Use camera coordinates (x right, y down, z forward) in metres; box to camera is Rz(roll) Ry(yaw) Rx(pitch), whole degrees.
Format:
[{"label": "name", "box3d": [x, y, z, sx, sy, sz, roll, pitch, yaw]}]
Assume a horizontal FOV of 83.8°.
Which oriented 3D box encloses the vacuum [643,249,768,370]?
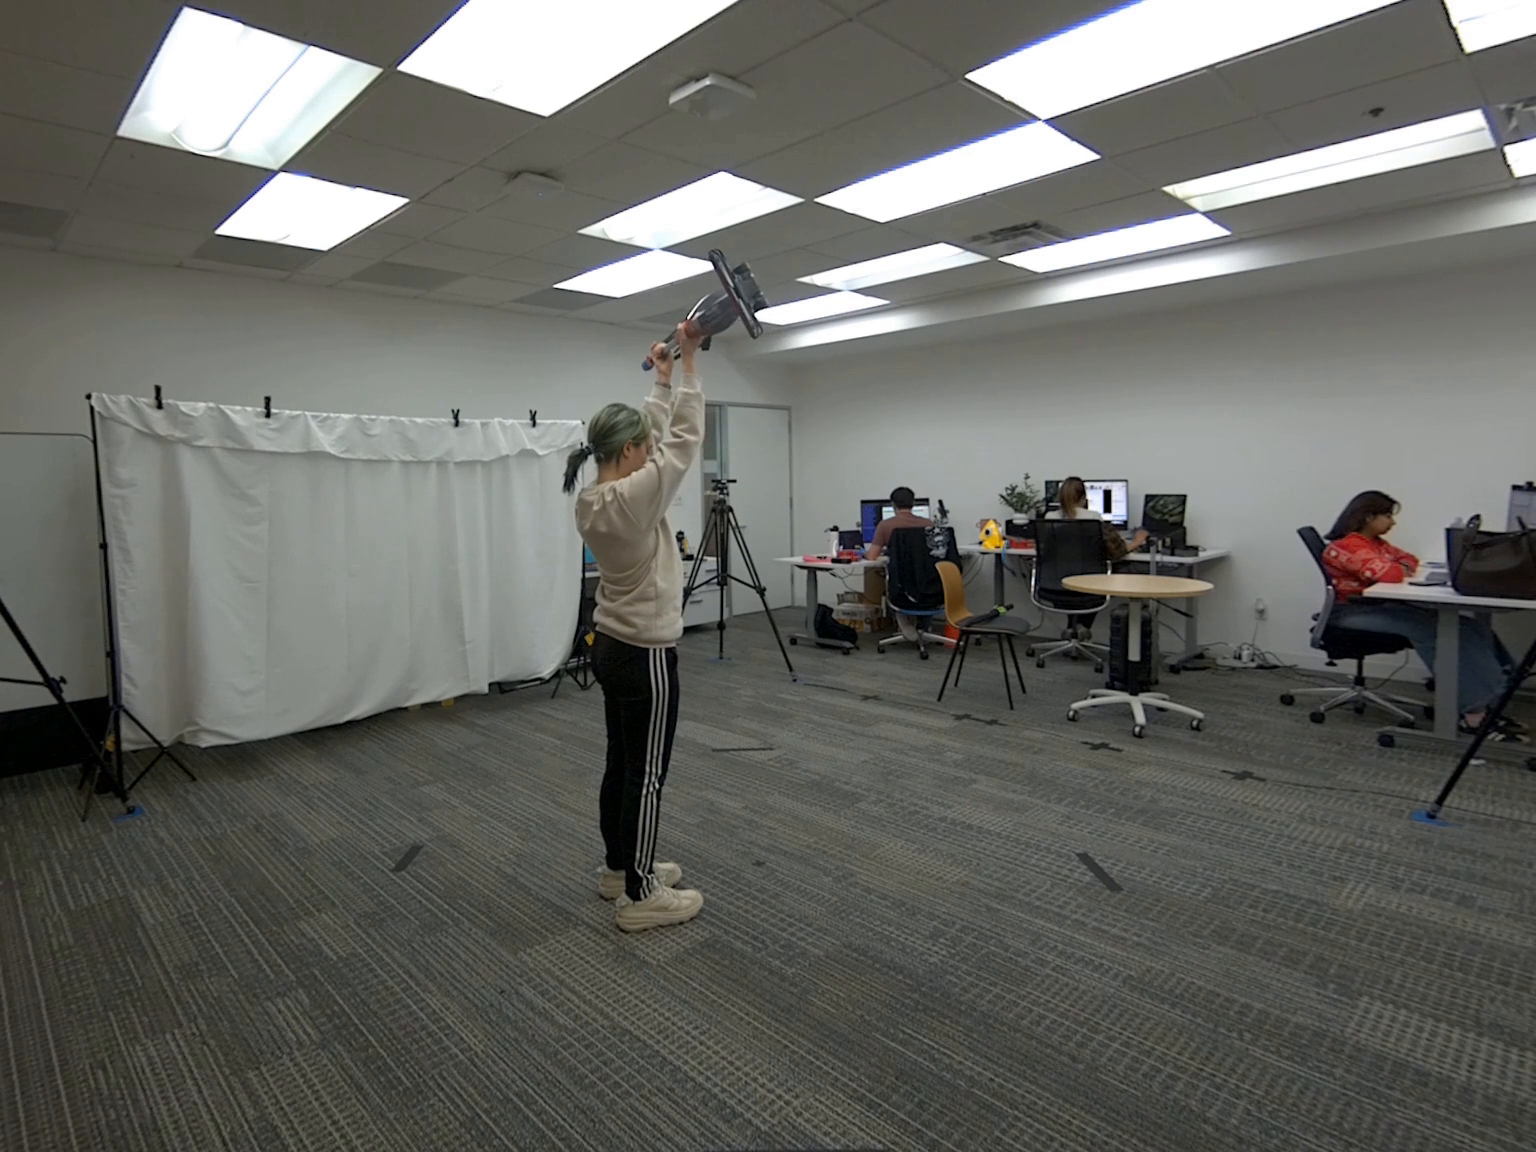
[{"label": "vacuum", "box3d": [-0.243, -0.783, 2.761, 0.143, 0.249, 1.068, -32, 12, -15]}]
